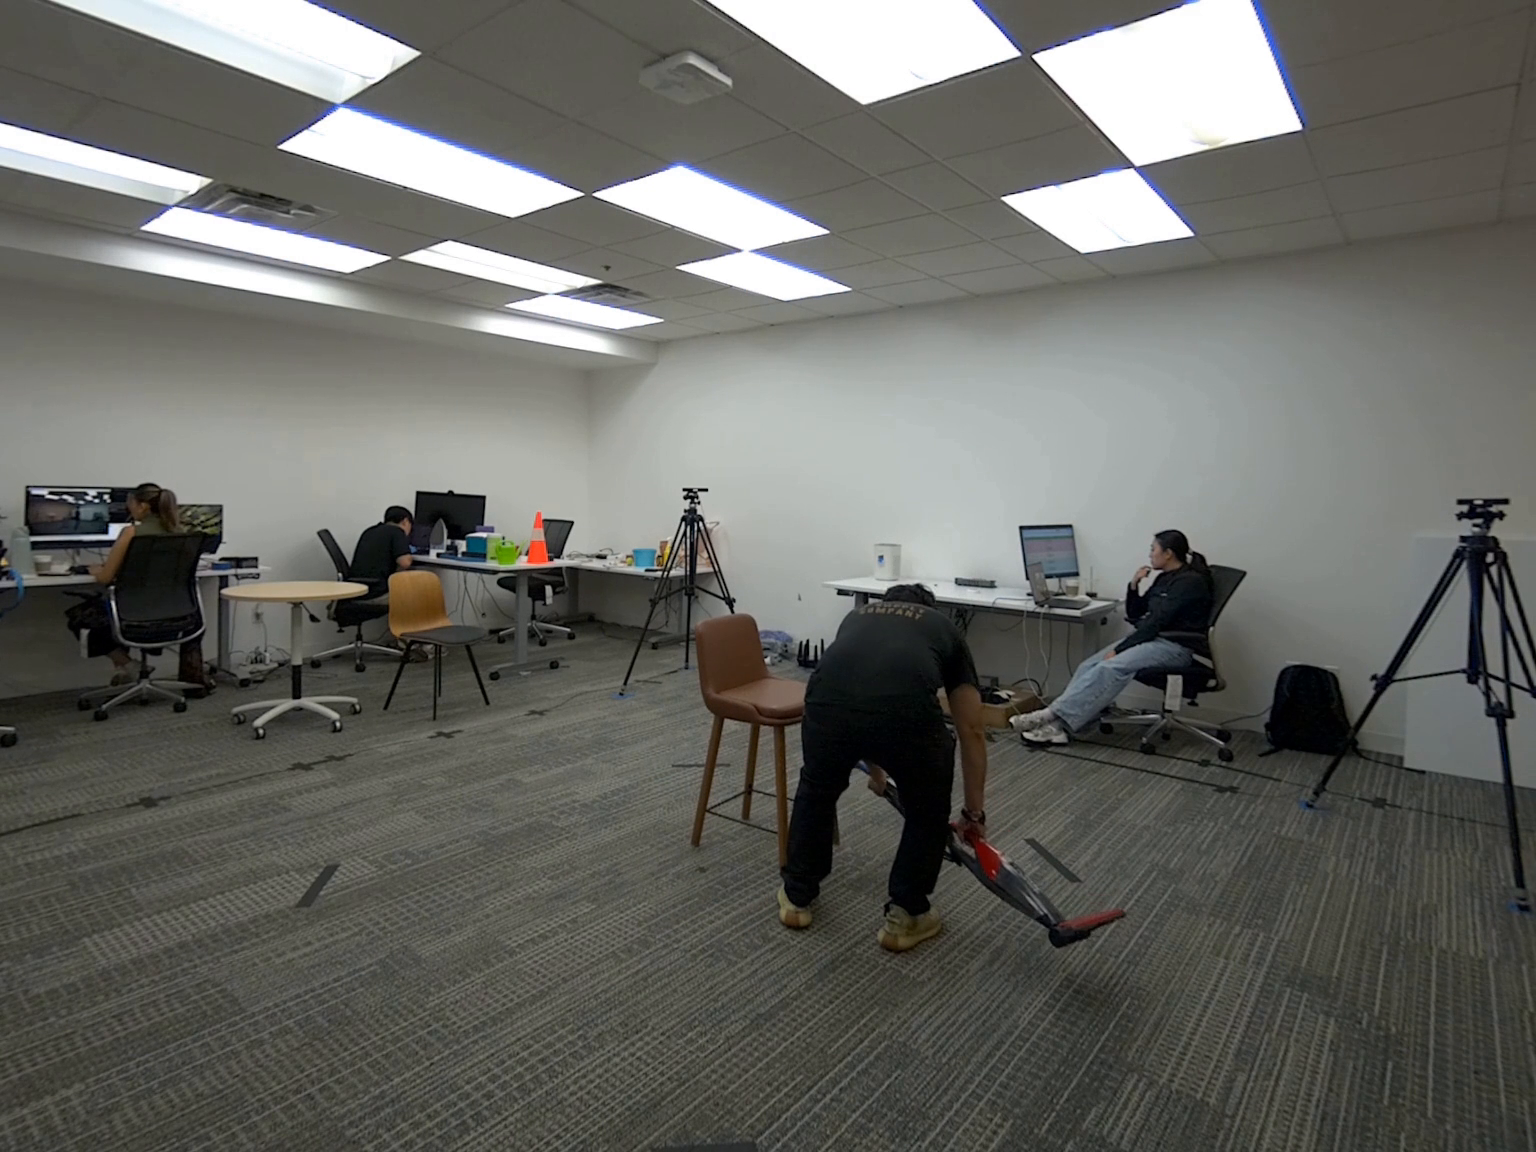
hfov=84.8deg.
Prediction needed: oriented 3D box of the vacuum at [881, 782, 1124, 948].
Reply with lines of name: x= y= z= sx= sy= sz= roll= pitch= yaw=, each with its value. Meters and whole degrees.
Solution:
vacuum: x=0.600 y=0.870 z=2.830 sx=0.245 sy=0.143 sz=1.091 roll=0 pitch=15 yaw=-35
